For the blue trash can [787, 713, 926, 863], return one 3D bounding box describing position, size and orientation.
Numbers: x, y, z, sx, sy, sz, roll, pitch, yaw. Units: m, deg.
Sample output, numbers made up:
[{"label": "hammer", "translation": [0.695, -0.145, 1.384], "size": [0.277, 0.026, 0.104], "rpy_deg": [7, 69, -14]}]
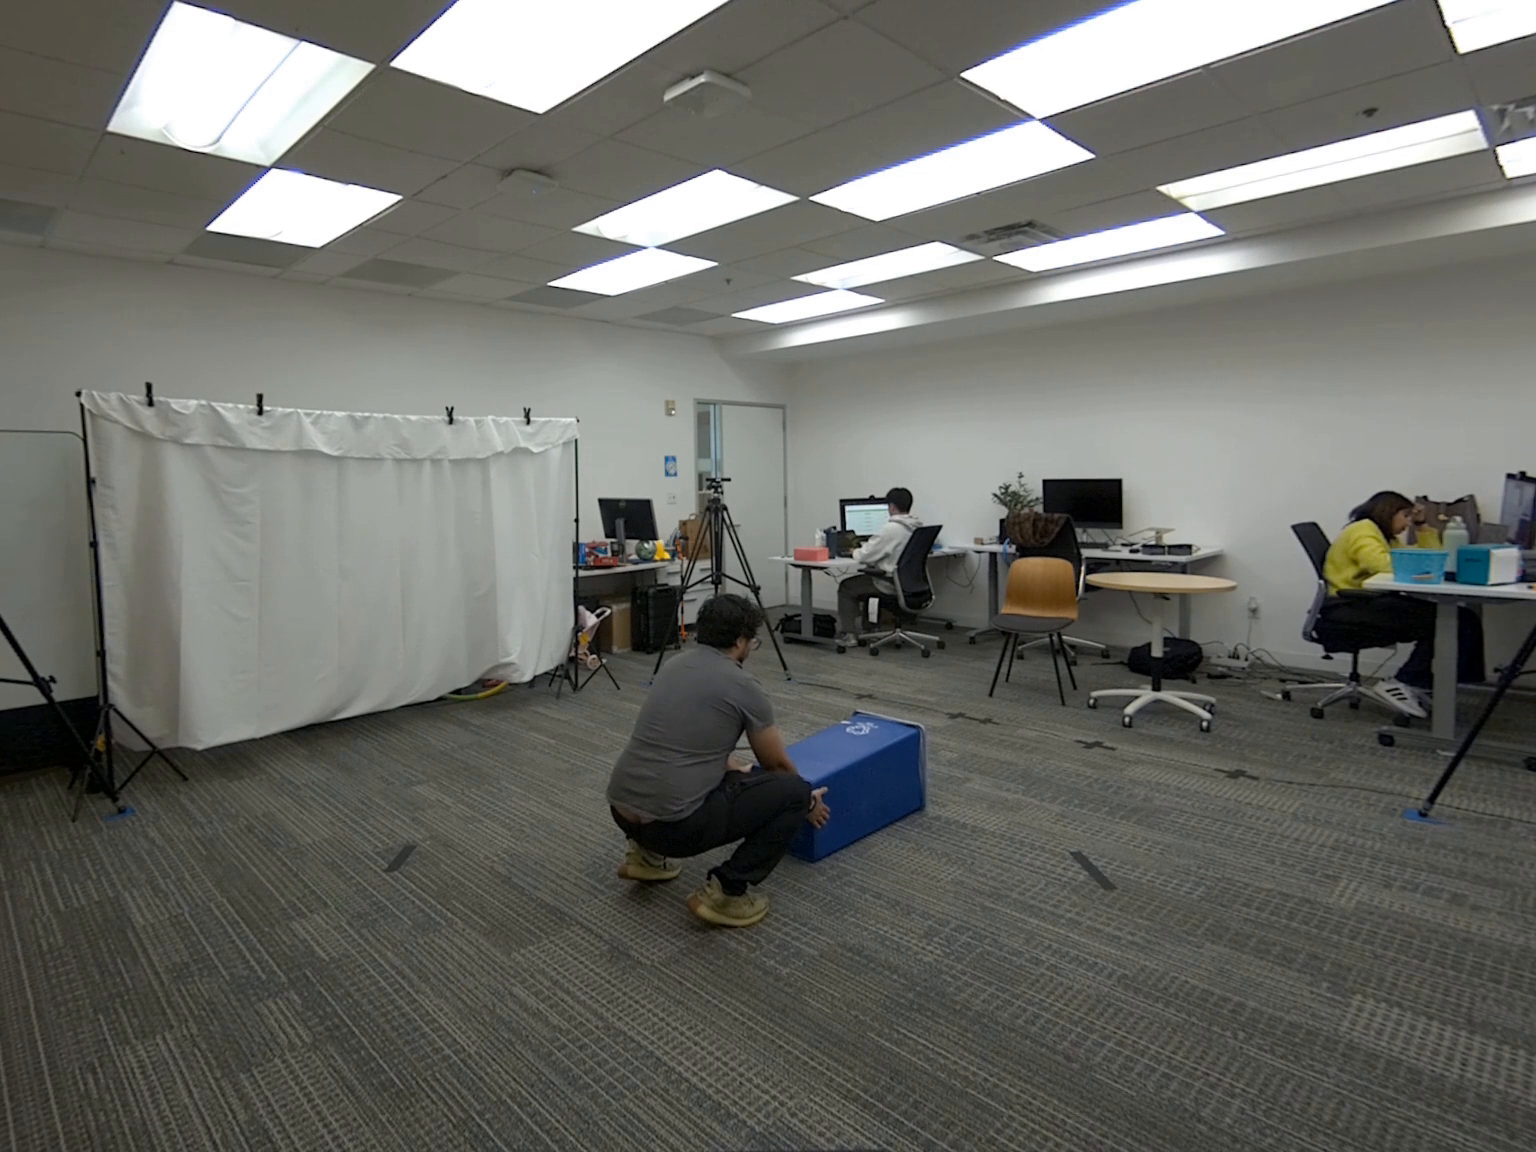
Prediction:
[{"label": "blue trash can", "translation": [0.289, 0.834, 3.417], "size": [0.386, 0.375, 0.696], "rpy_deg": [4, 10, 42]}]
